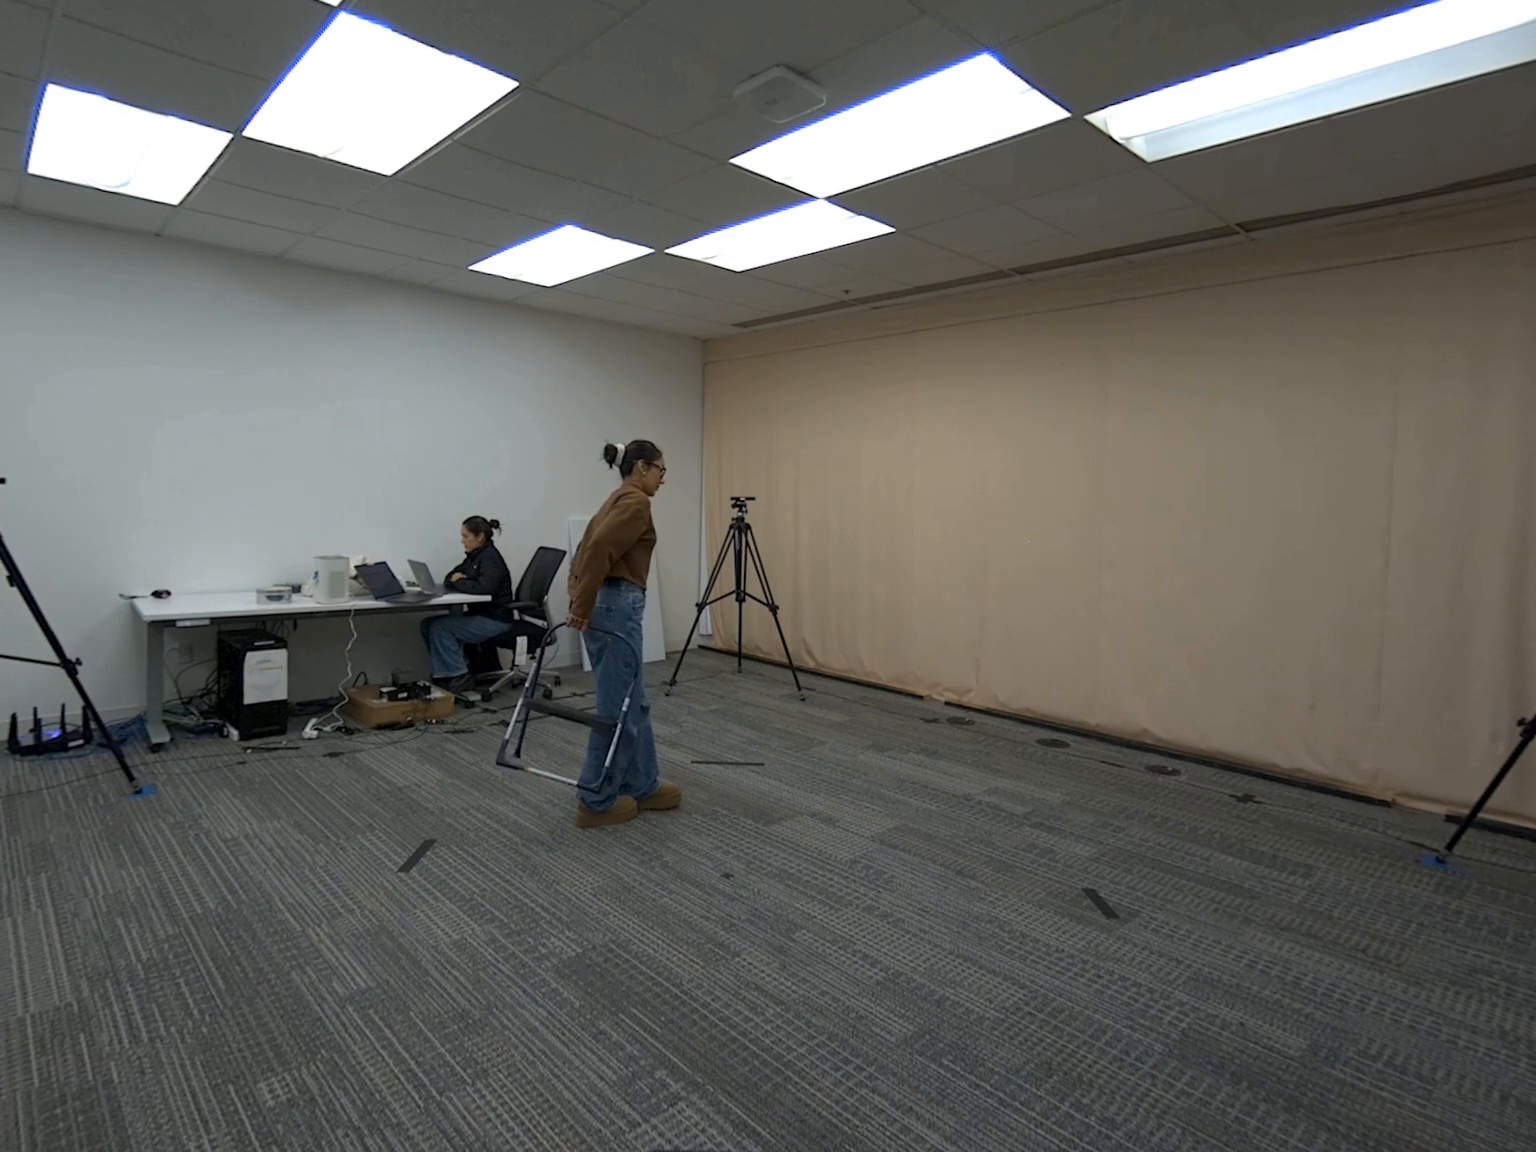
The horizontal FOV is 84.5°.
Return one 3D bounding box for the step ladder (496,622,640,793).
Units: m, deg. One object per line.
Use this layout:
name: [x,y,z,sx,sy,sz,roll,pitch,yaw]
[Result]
step ladder: [-0.771,0.501,3.366,0.430,0.608,0.348,15,-8,-1]
